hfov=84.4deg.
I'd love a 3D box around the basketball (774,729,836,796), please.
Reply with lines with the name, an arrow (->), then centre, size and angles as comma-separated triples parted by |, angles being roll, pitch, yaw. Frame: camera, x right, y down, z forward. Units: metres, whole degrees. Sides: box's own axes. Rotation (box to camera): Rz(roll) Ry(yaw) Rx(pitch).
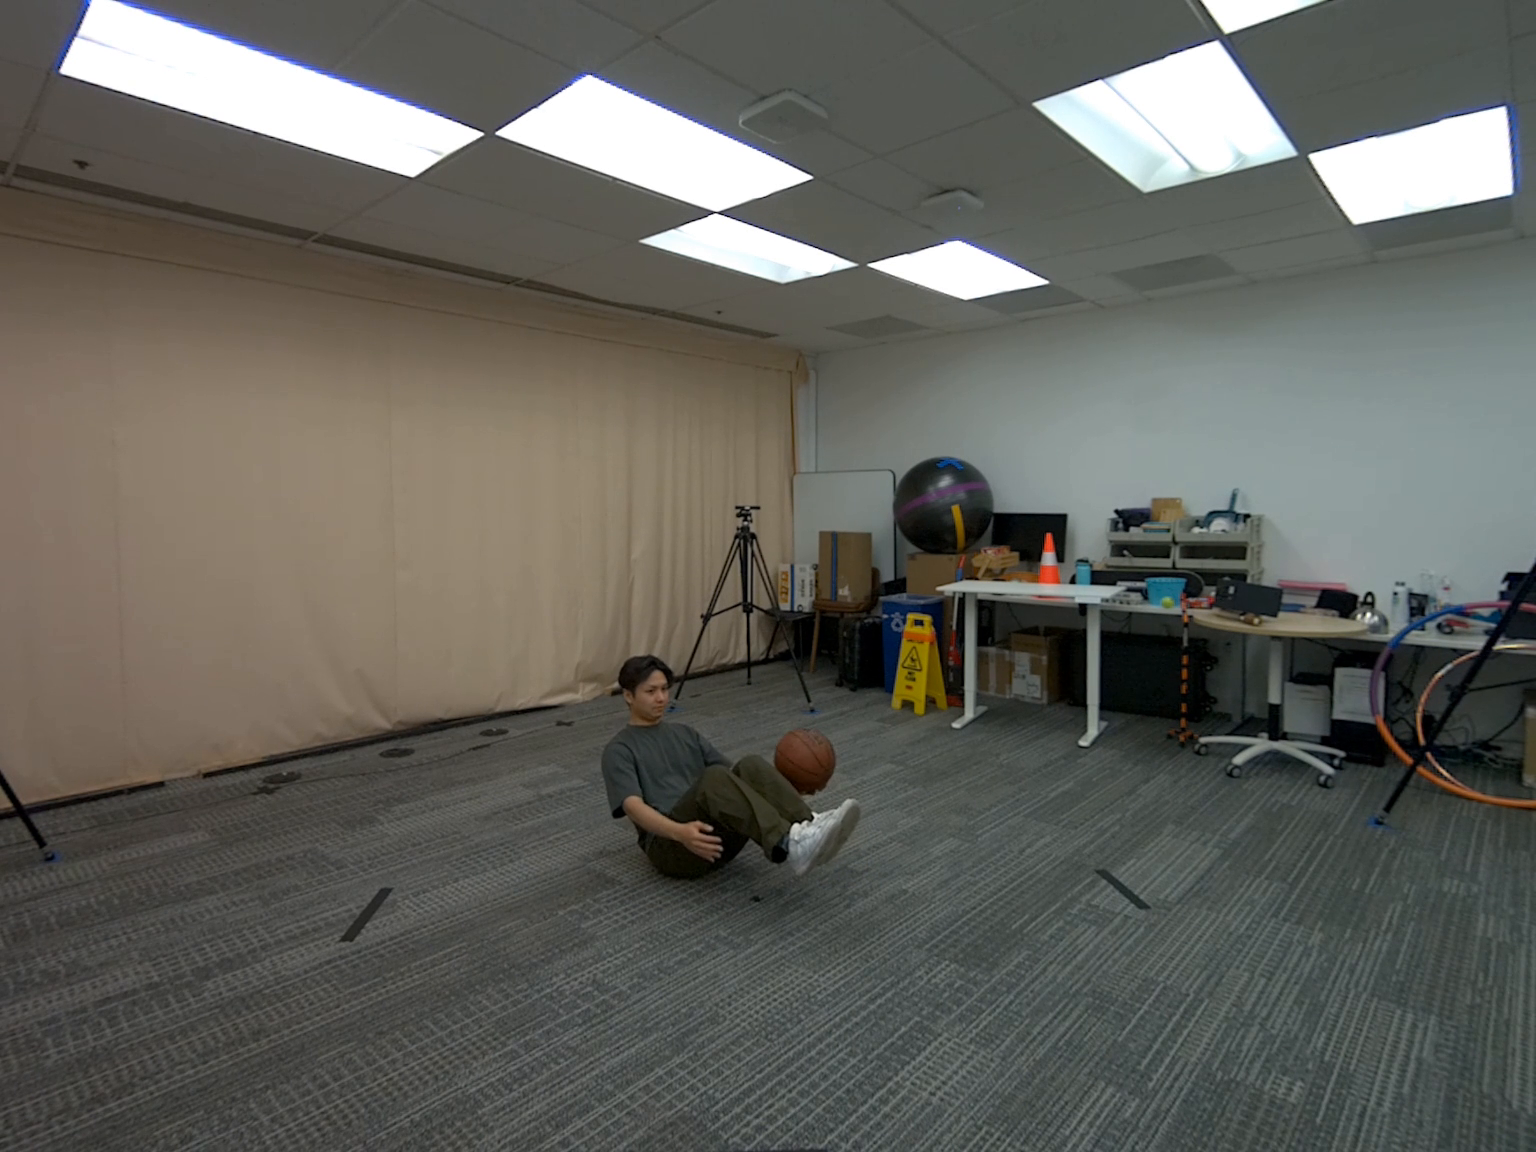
basketball -> 0.135, 0.711, 3.250 | 0.236, 0.235, 0.237 | 0, 4, -2
